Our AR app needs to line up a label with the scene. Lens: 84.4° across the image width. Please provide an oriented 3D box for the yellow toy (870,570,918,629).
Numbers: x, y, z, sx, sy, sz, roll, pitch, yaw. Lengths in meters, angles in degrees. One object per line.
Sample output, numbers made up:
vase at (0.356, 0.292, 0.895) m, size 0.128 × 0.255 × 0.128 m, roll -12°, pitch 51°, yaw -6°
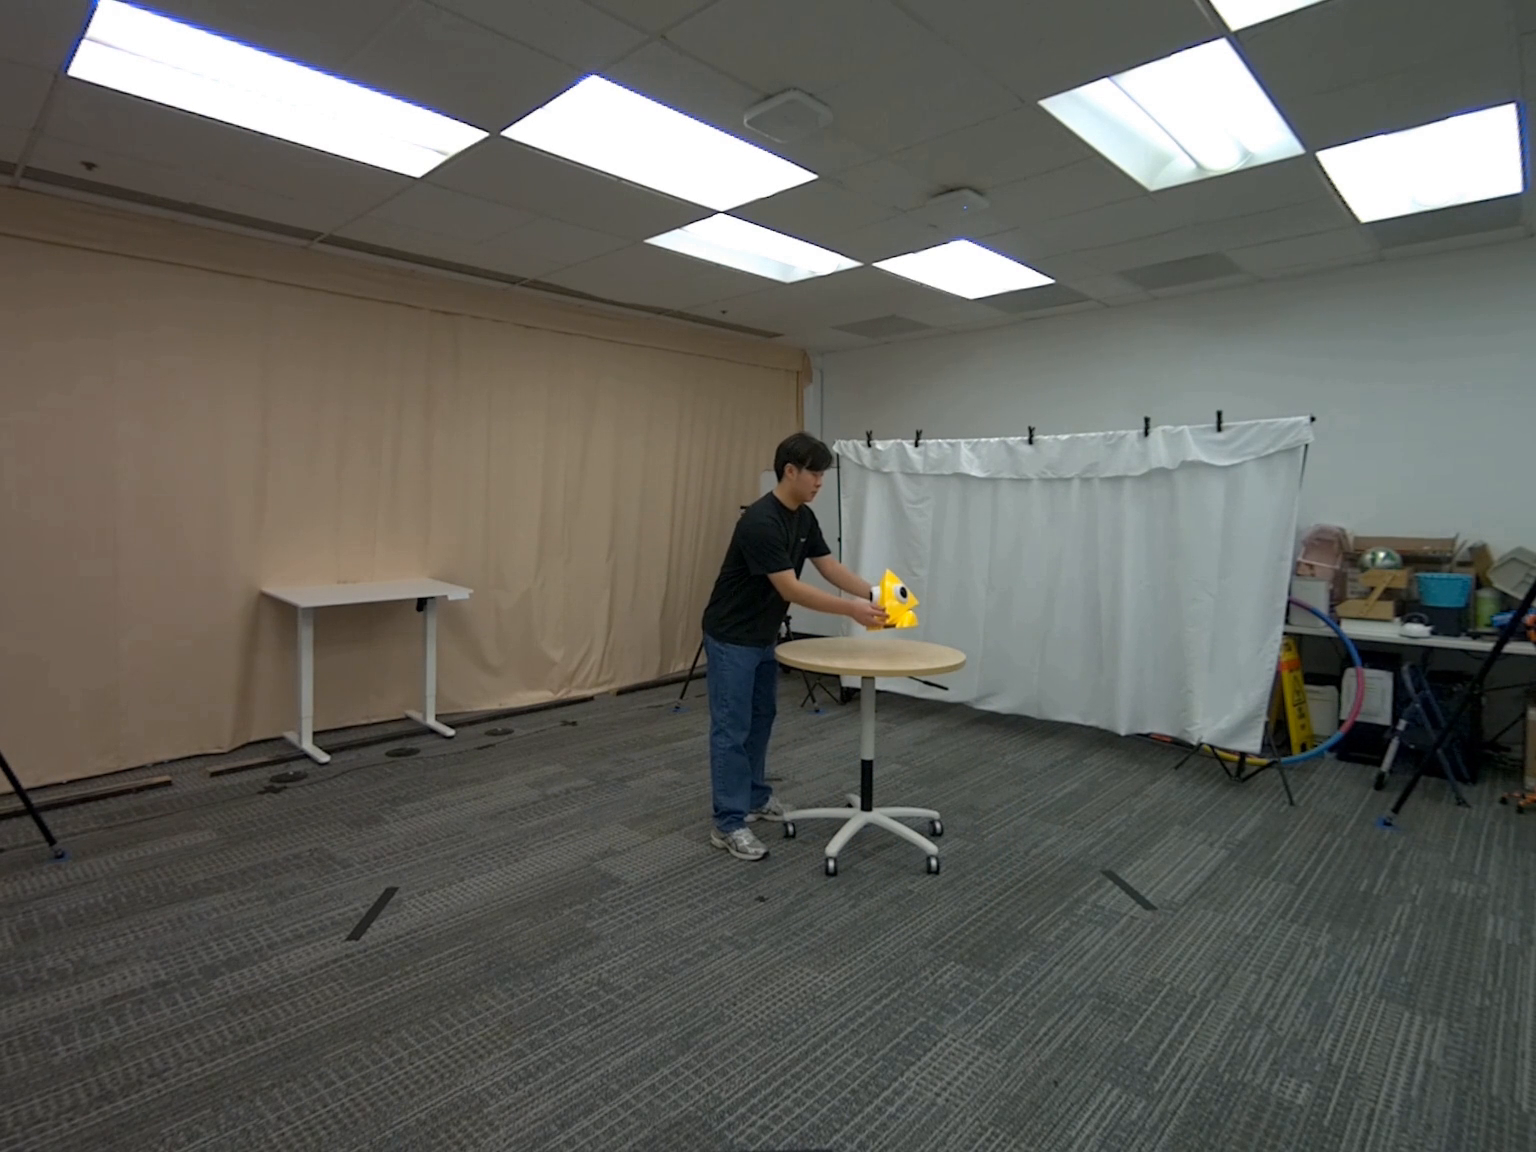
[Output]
yellow toy at (0.479, 0.091, 3.324) m, size 0.209 × 0.231 × 0.189 m, roll -7°, pitch -2°, yaw 21°
